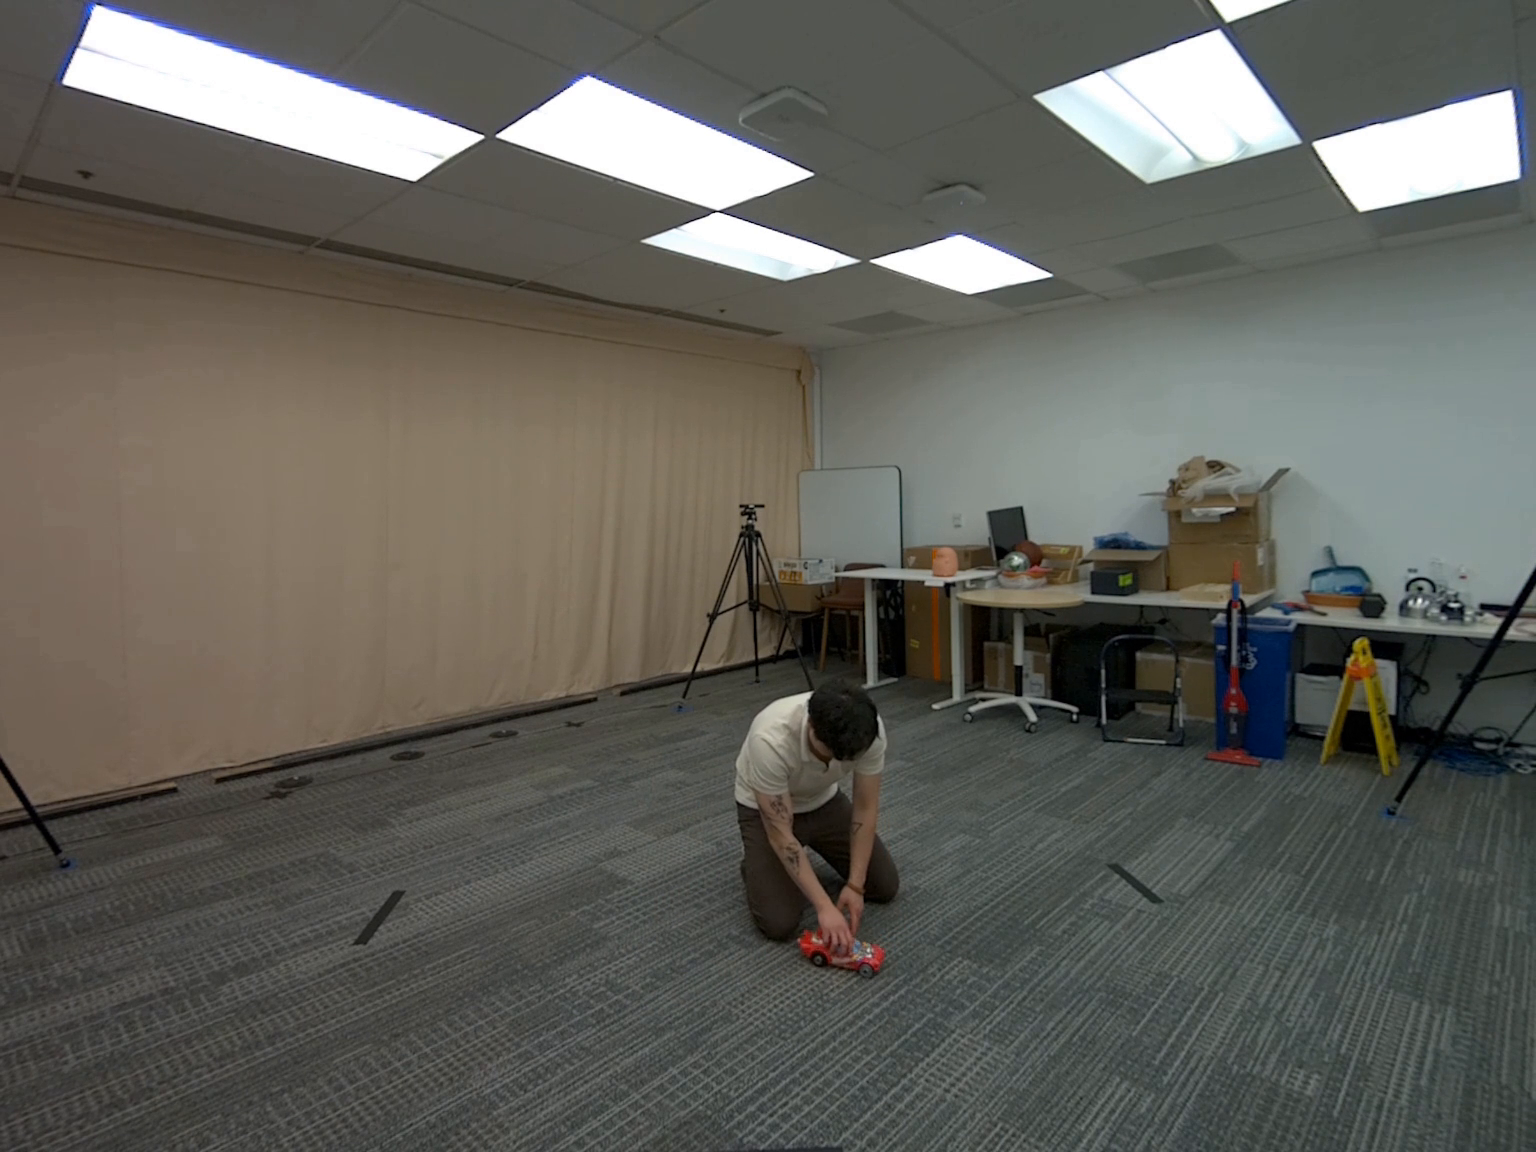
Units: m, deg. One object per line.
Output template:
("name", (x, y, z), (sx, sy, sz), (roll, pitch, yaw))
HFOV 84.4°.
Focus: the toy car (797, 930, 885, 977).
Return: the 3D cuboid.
("toy car", (0.211, 1.133, 2.563), (0.261, 0.083, 0.127), (14, 11, 23))
